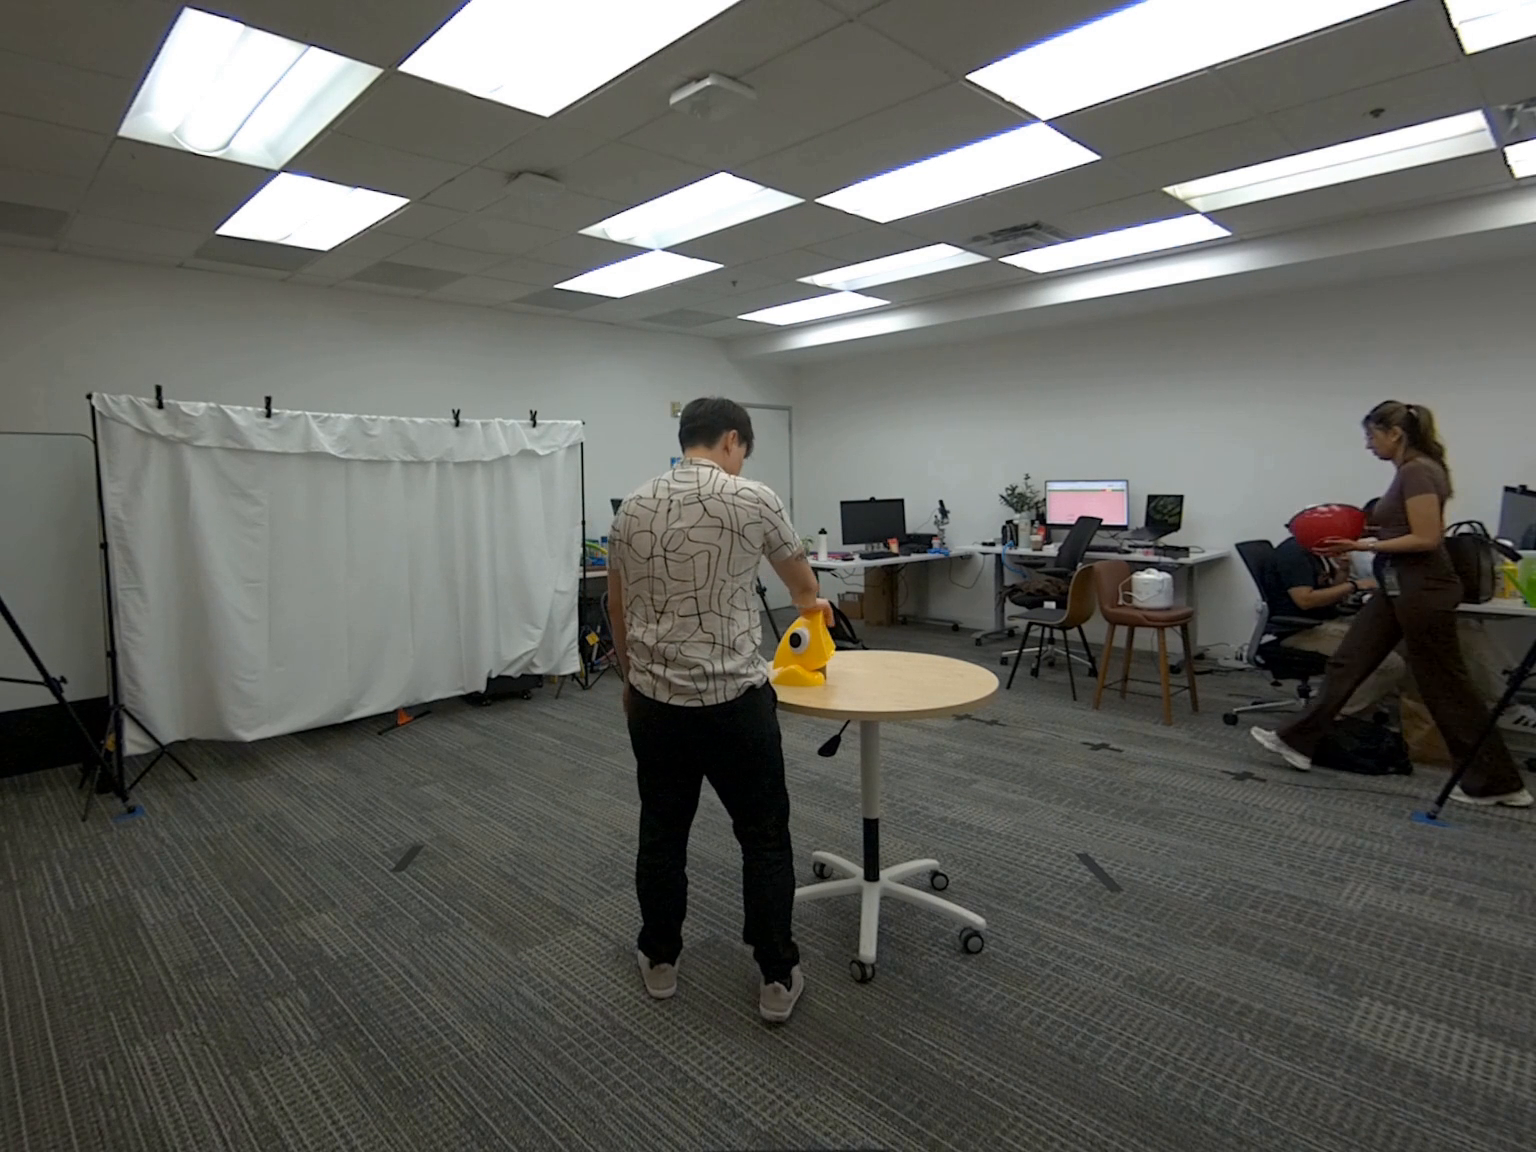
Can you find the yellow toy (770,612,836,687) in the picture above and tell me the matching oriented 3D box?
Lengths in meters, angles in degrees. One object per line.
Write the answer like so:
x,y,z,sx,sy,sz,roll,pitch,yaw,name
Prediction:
0.112,0.204,2.635,0.195,0.230,0.203,-1,5,11,yellow toy
